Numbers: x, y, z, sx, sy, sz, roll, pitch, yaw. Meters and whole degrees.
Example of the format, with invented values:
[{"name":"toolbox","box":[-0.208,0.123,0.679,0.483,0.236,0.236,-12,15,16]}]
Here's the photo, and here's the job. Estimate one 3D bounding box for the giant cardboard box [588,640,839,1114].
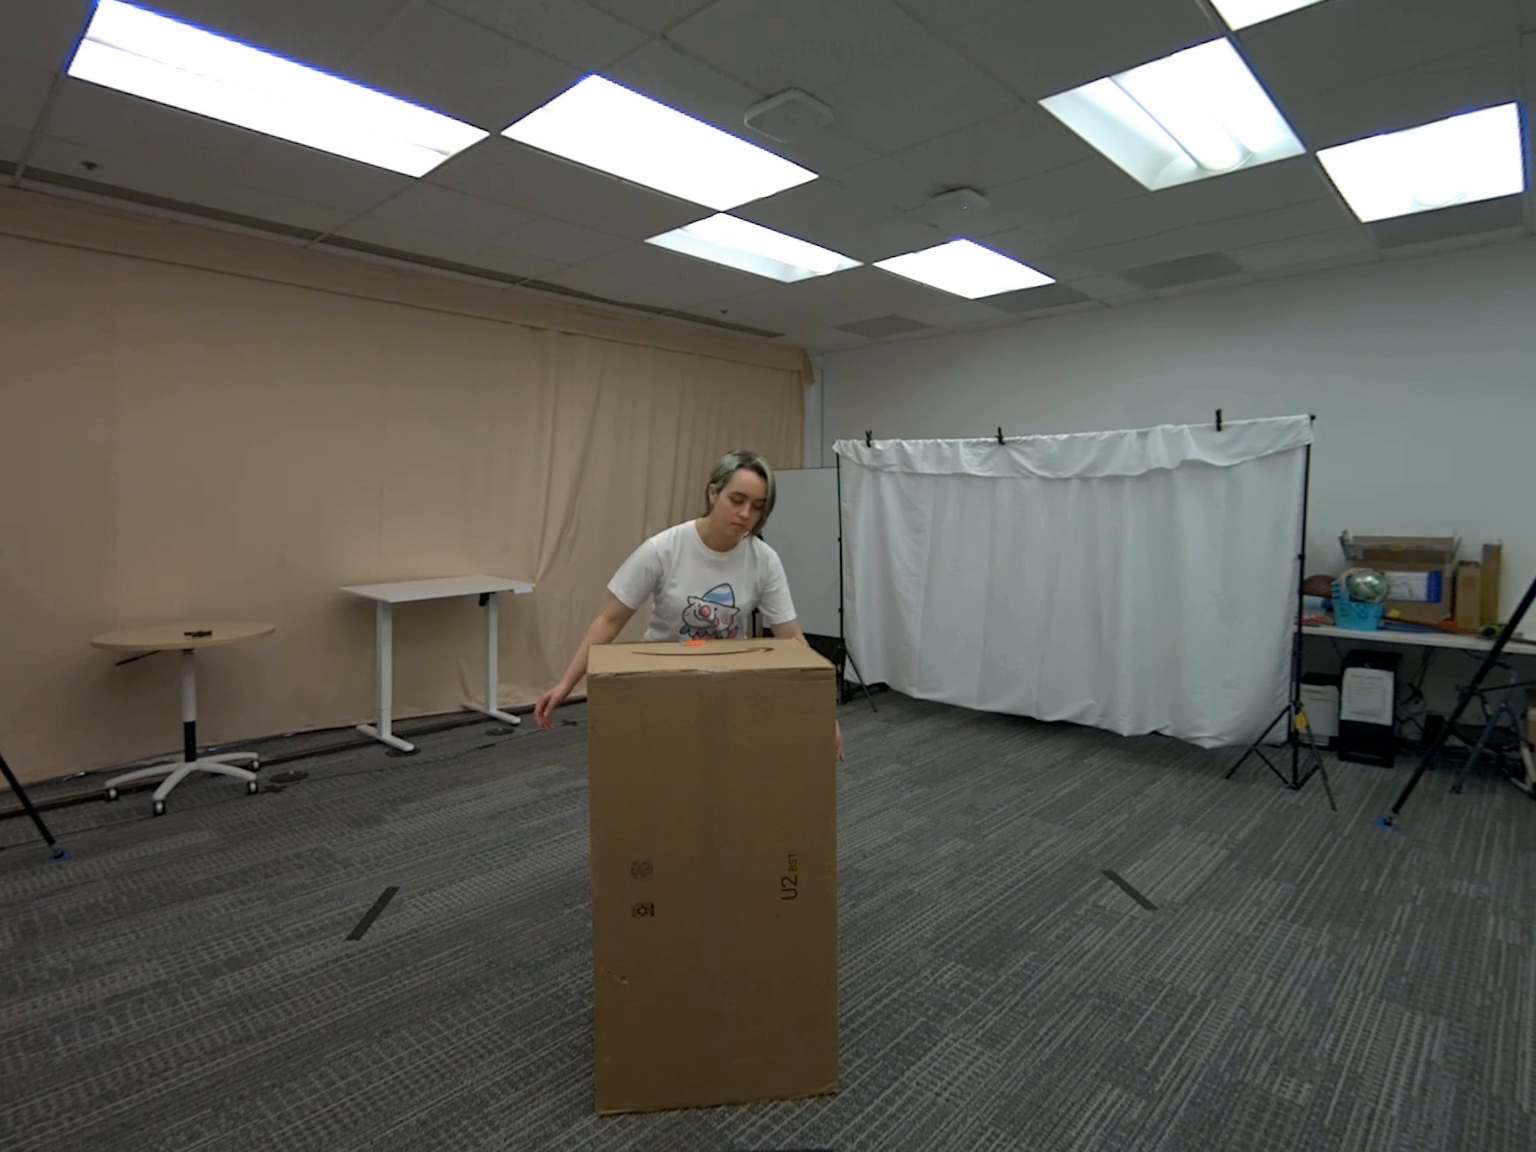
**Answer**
[{"name":"giant cardboard box","box":[-0.158,0.708,2.140,0.579,1.024,0.452,-1,4,-9]}]
